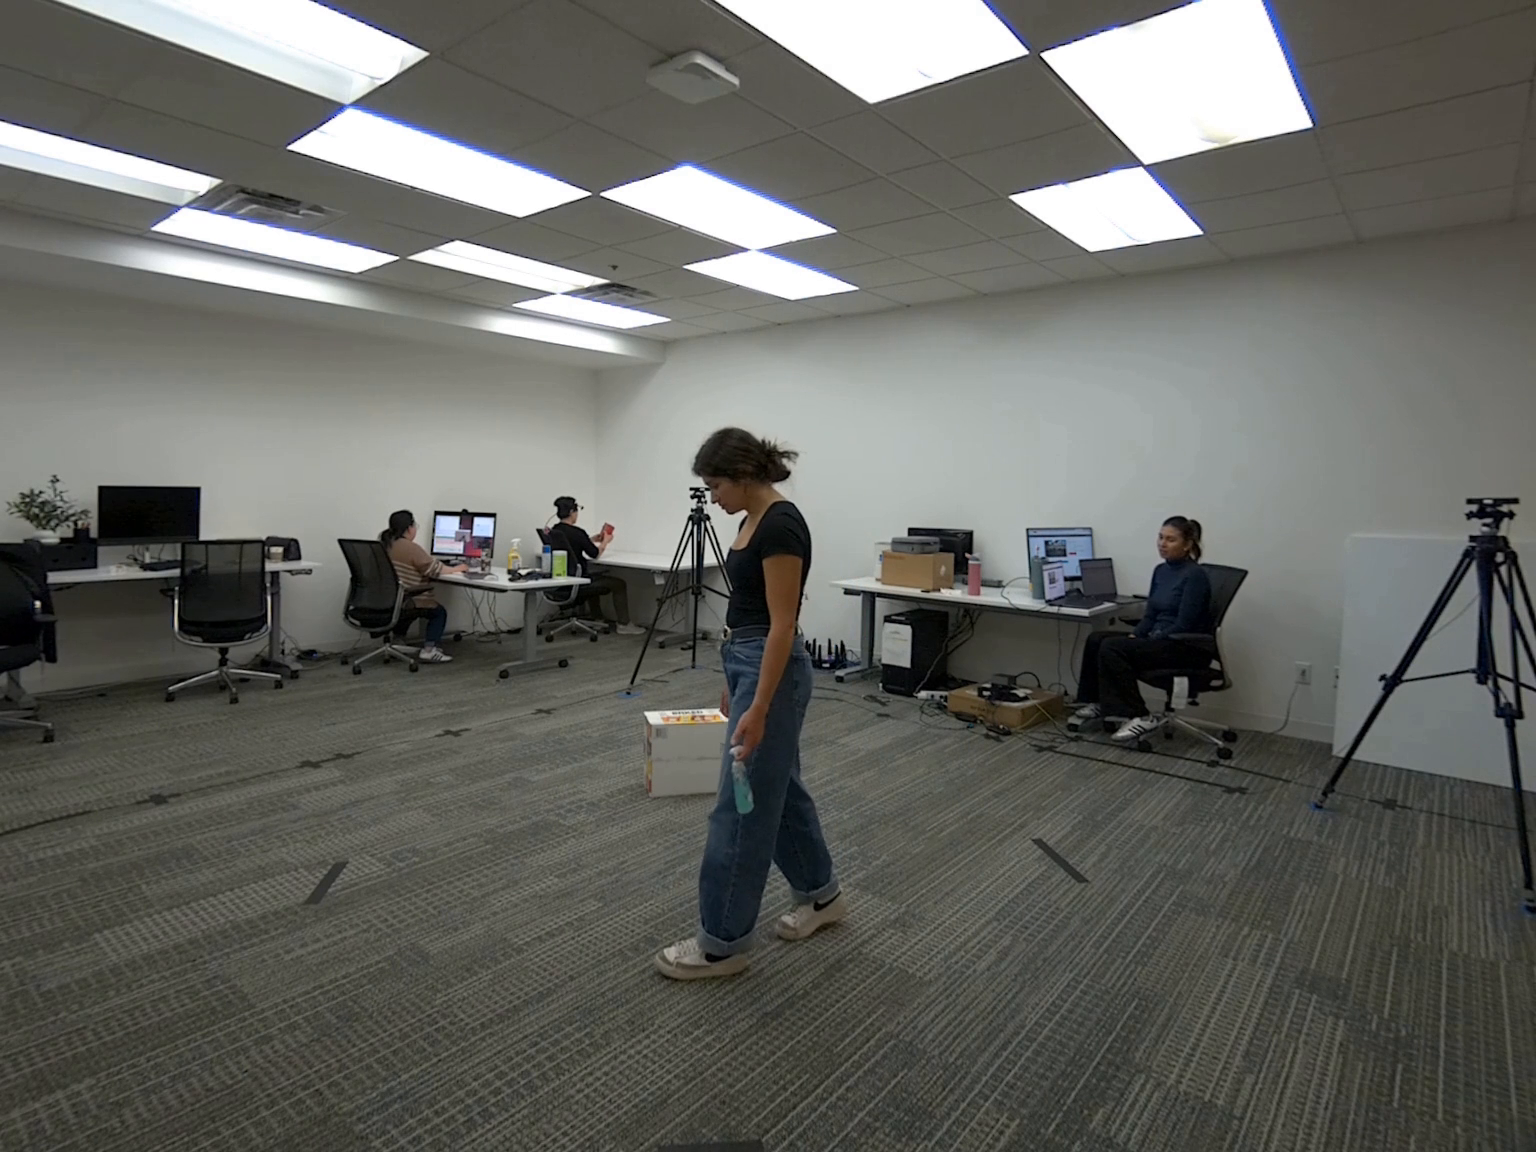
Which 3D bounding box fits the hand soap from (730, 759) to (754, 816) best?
[{"bbox_3d":[-0.074,0.538,2.266,0.044,0.167,0.084,-4,9,7],"label":"hand soap"}]
